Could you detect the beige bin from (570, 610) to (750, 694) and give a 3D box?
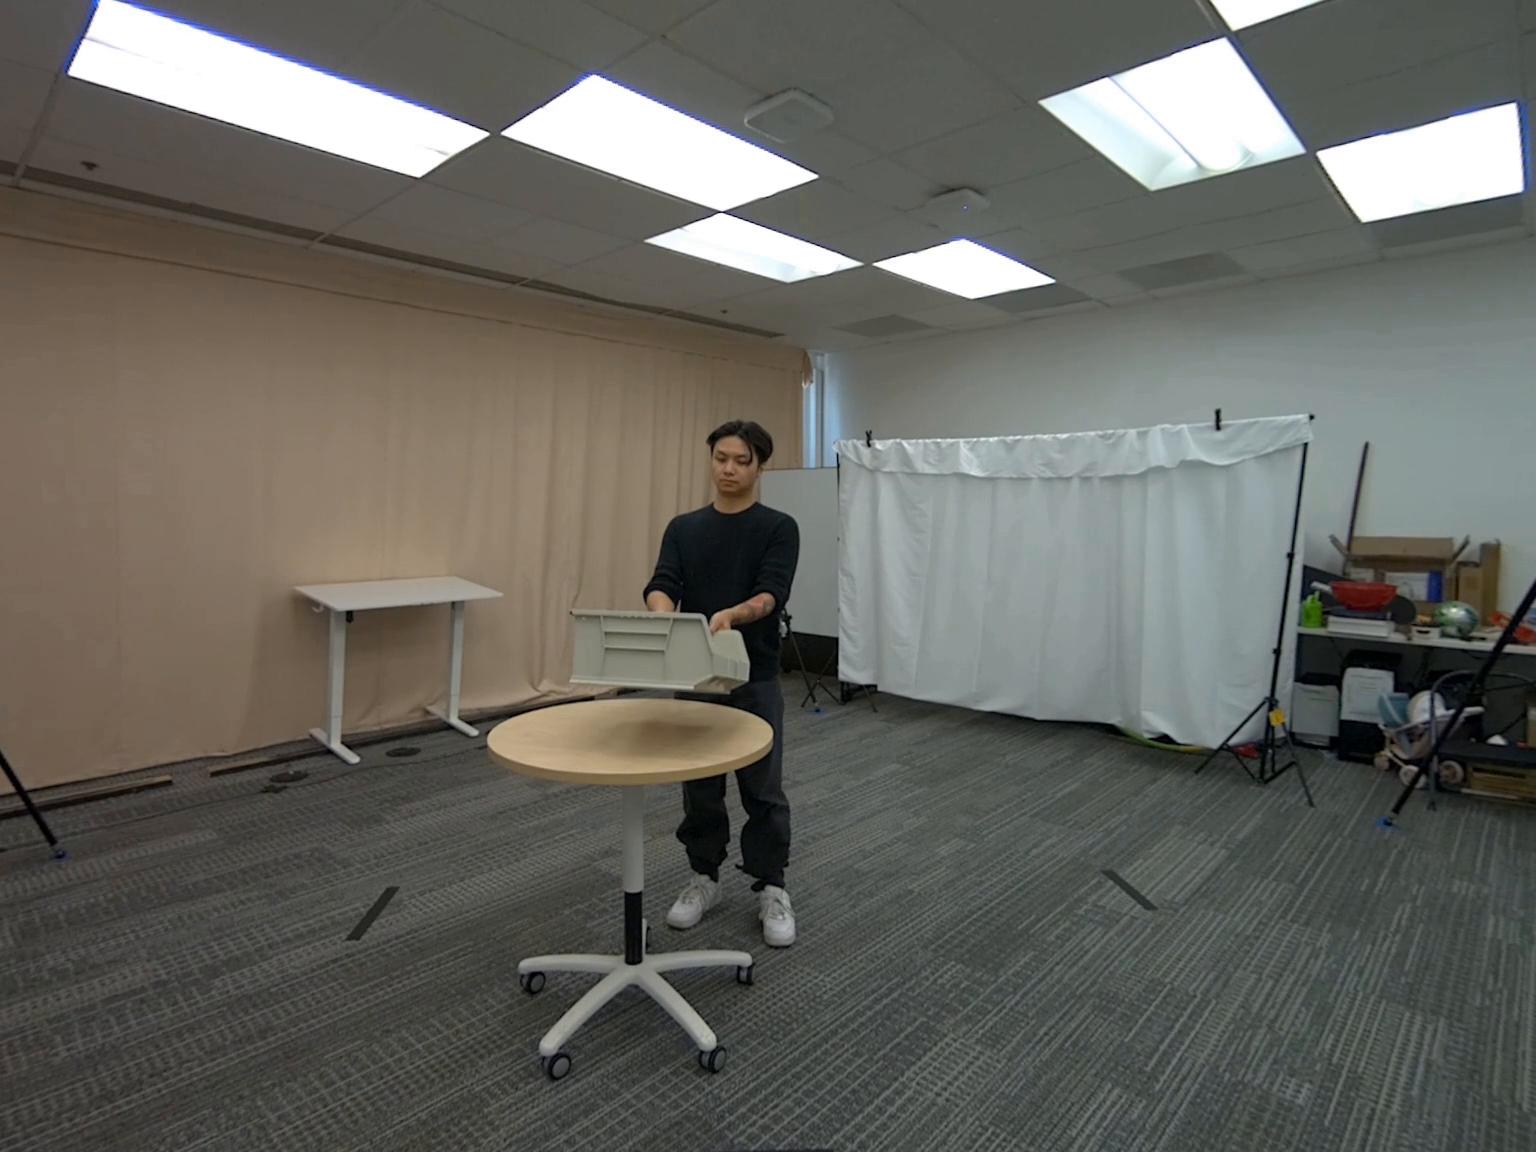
[{"bbox_3d":[-0.275,0.205,2.211,0.382,0.190,0.415,-1,-8,9],"label":"beige bin"}]
